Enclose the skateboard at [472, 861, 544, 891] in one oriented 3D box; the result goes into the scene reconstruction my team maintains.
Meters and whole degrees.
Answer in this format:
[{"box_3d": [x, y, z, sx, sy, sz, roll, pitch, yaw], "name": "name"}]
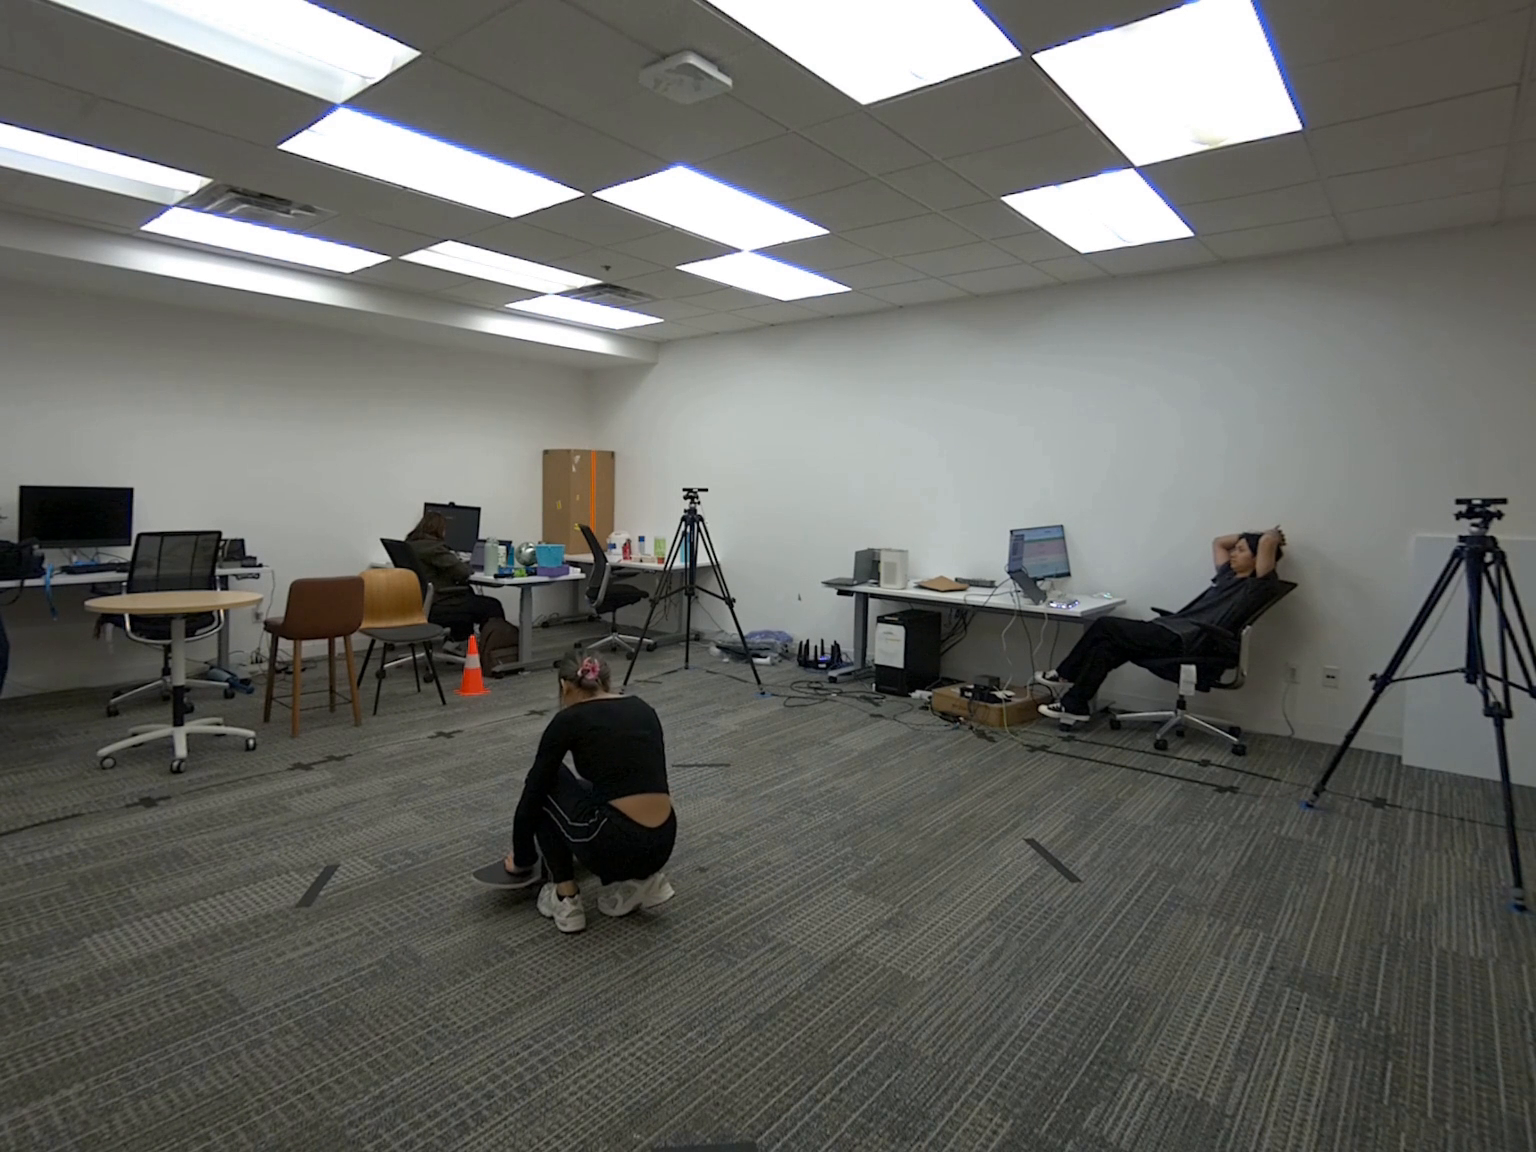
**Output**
[{"box_3d": [-0.747, 1.004, 3.080, 0.199, 0.110, 0.765, 3, 6, 30], "name": "skateboard"}]
